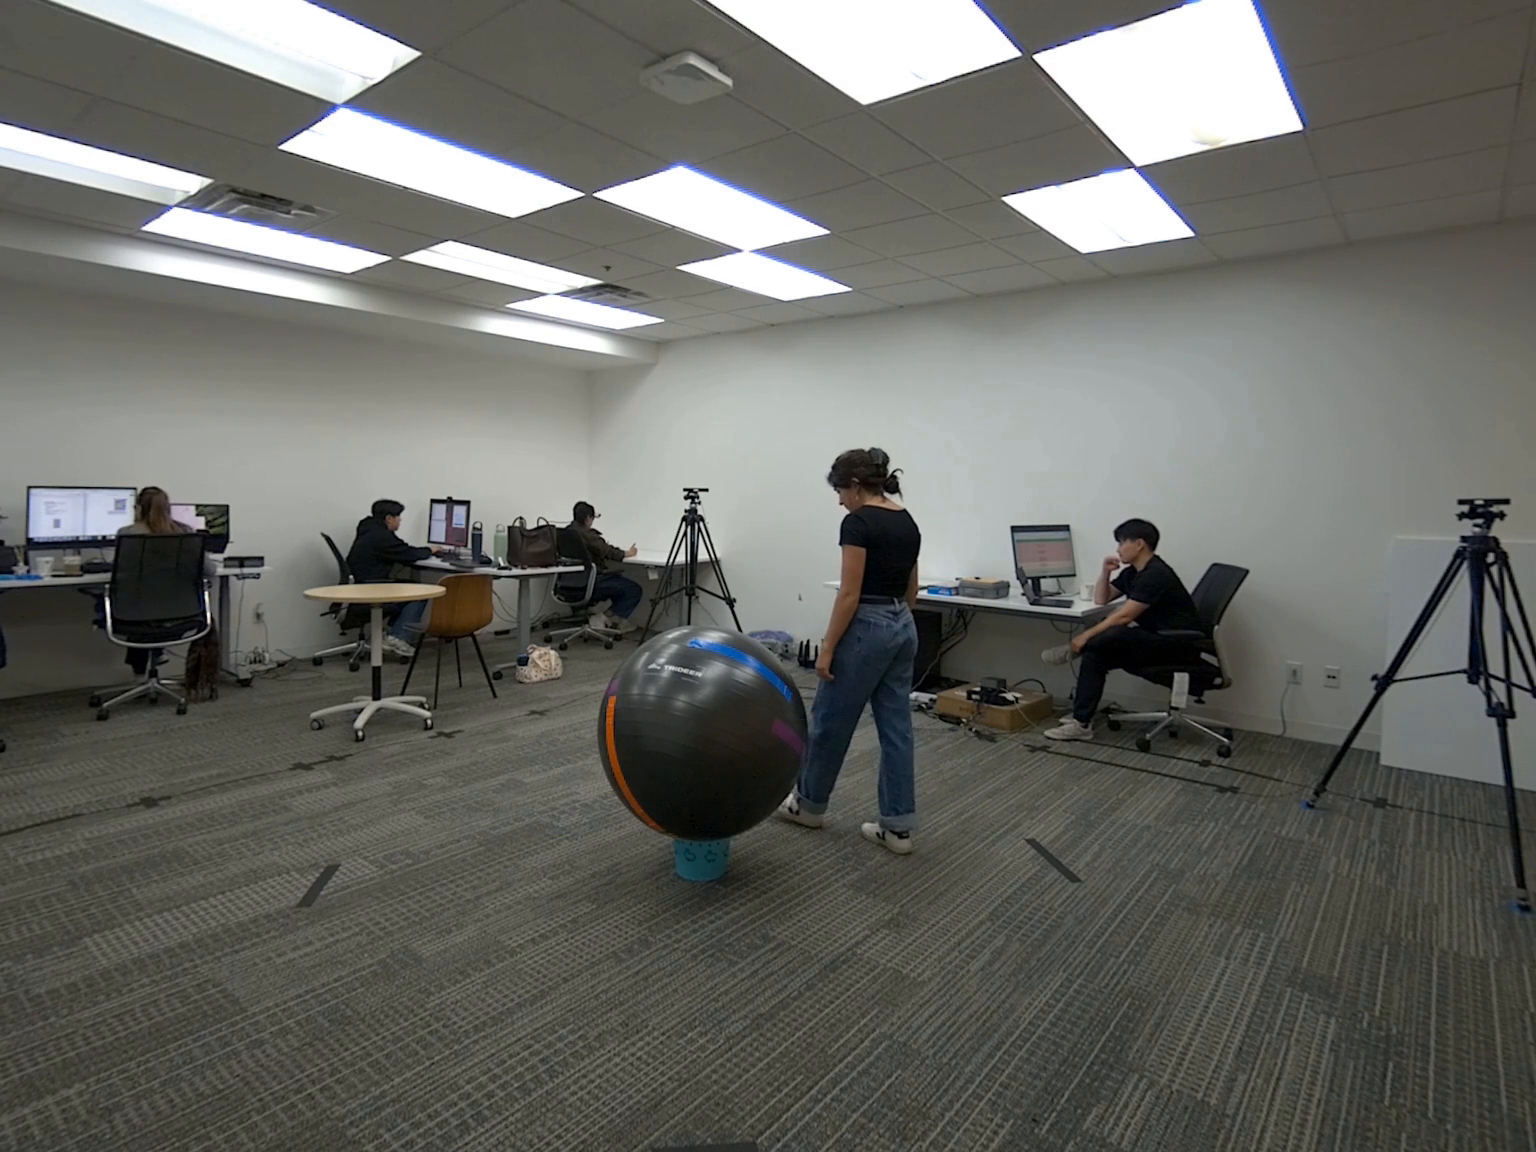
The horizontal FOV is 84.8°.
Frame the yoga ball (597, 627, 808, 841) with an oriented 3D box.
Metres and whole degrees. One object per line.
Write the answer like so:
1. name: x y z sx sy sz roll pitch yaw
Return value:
1. yoga ball: -0.247 0.557 3.083 0.757 0.756 0.762 1 4 -2
